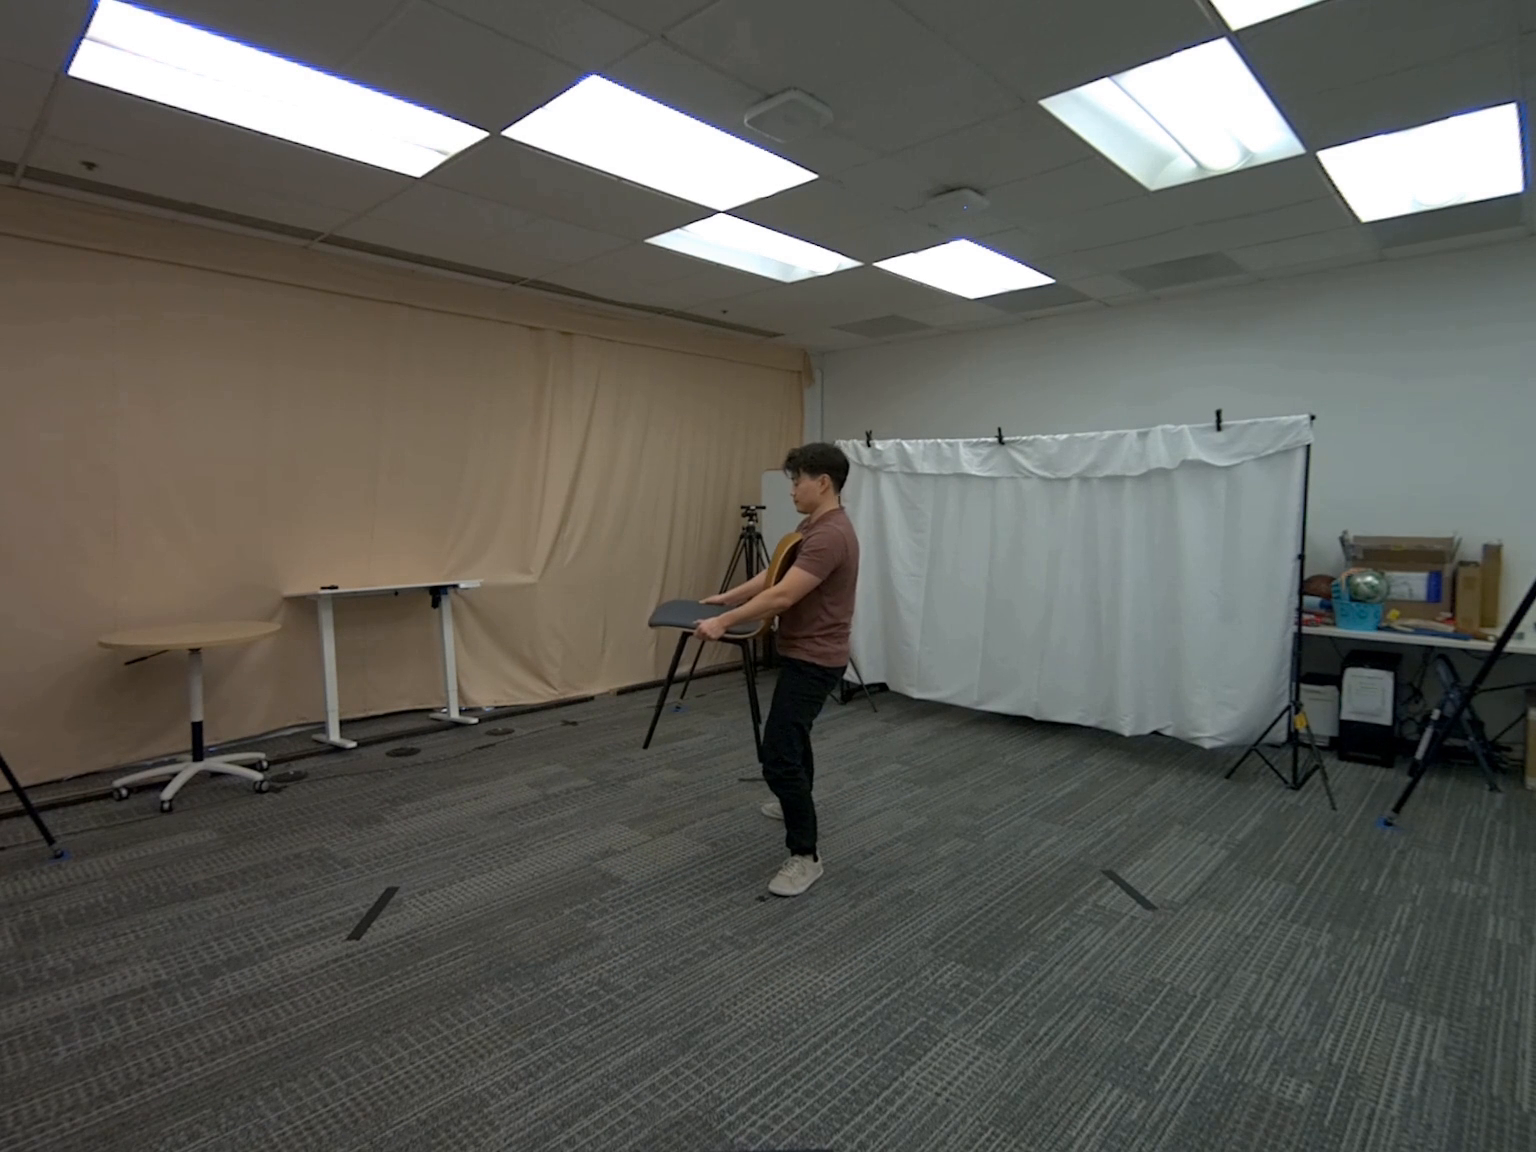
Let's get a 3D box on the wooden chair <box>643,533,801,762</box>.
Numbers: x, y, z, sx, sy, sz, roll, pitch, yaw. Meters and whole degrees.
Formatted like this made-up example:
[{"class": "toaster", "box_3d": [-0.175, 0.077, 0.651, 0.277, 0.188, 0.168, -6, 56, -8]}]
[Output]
[{"class": "wooden chair", "box_3d": [-0.205, 0.224, 3.291, 0.523, 0.874, 0.480, 11, 9, -1]}]
